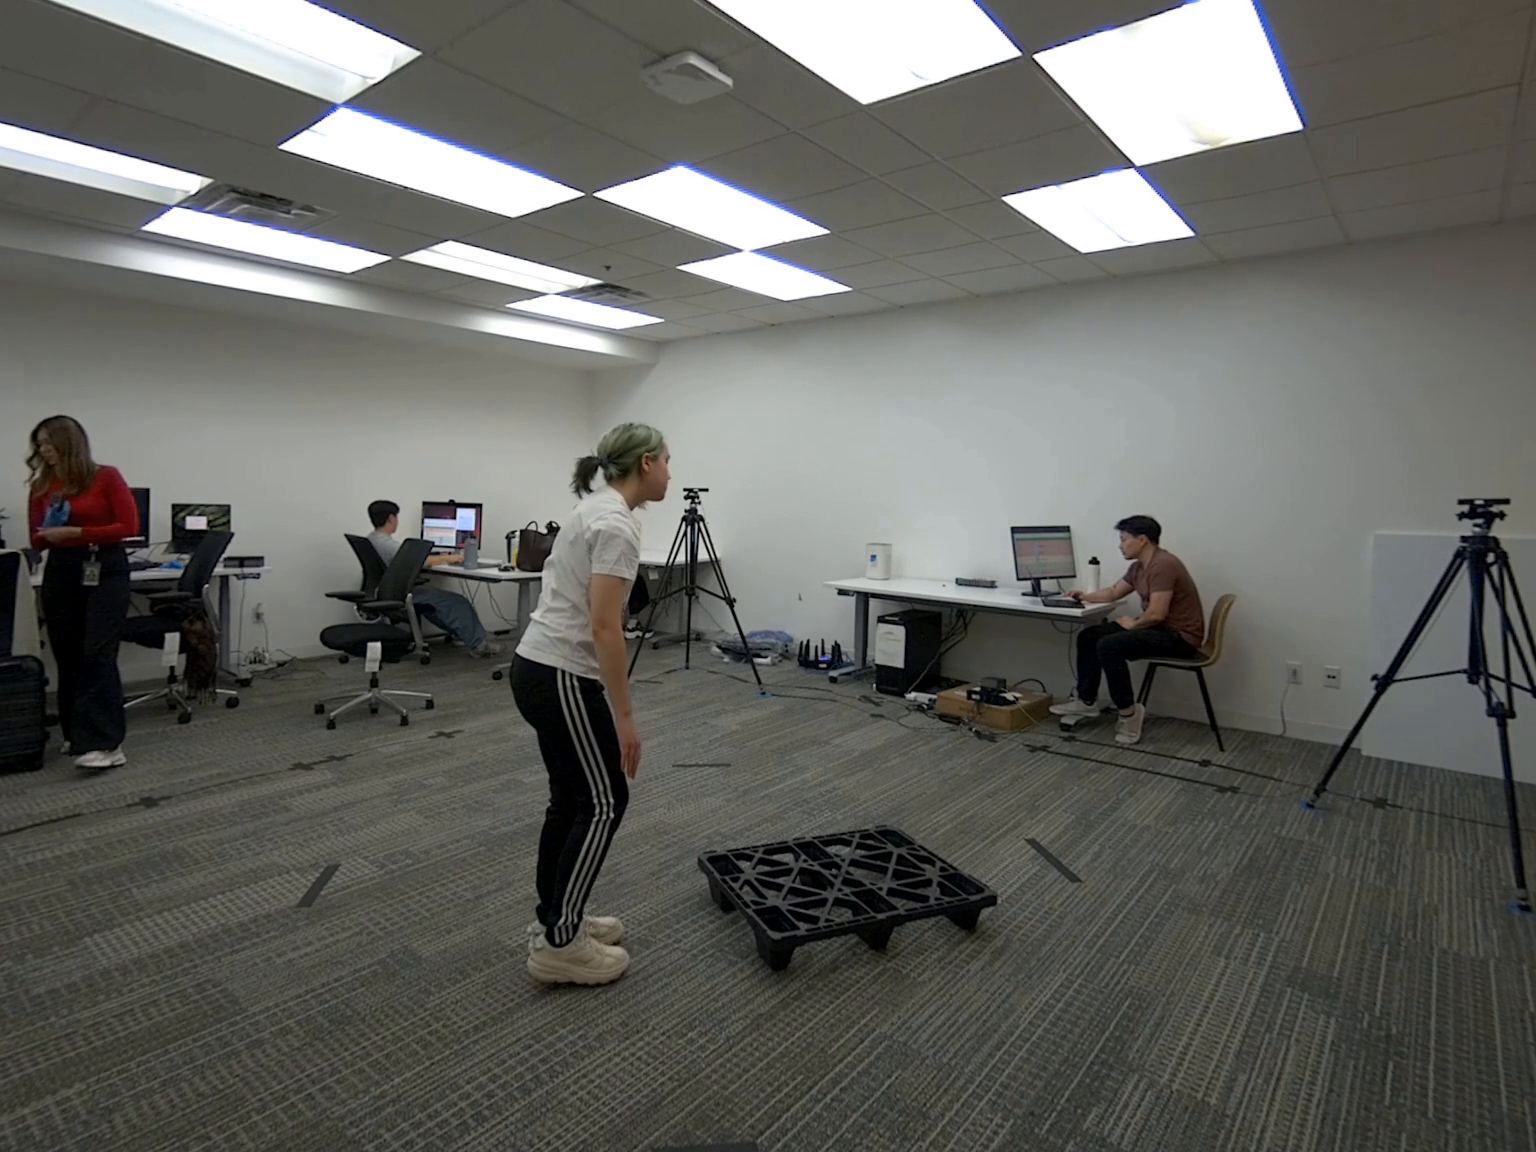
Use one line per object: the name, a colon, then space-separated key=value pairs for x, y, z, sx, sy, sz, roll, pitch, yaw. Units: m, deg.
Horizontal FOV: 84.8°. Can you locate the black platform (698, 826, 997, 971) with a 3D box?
black platform: x=0.235 y=1.041 z=2.804 sx=0.787 sy=0.143 sz=0.622 roll=-1 pitch=7 yaw=-24
